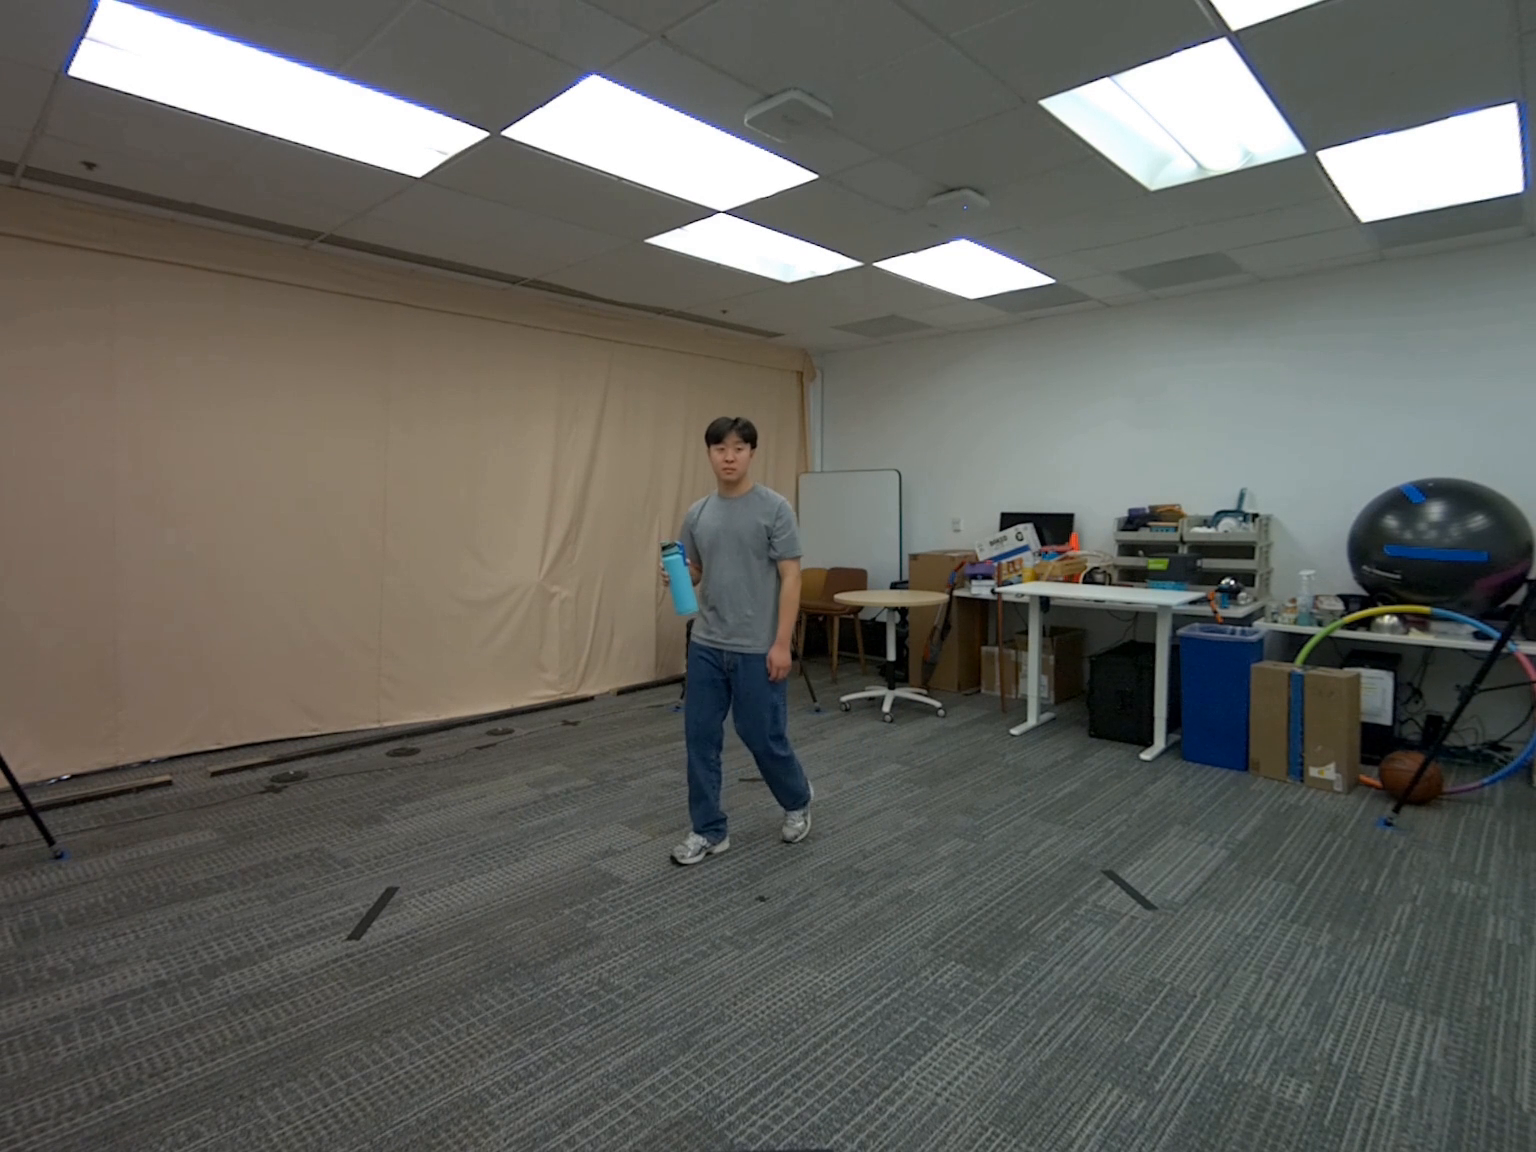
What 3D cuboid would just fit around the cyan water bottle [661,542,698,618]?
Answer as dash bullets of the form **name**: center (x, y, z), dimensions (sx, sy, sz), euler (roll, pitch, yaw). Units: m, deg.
- **cyan water bottle**: center (-0.330, 0.002, 3.176), dimensions (0.092, 0.282, 0.093), euler (-9, 6, -1)
